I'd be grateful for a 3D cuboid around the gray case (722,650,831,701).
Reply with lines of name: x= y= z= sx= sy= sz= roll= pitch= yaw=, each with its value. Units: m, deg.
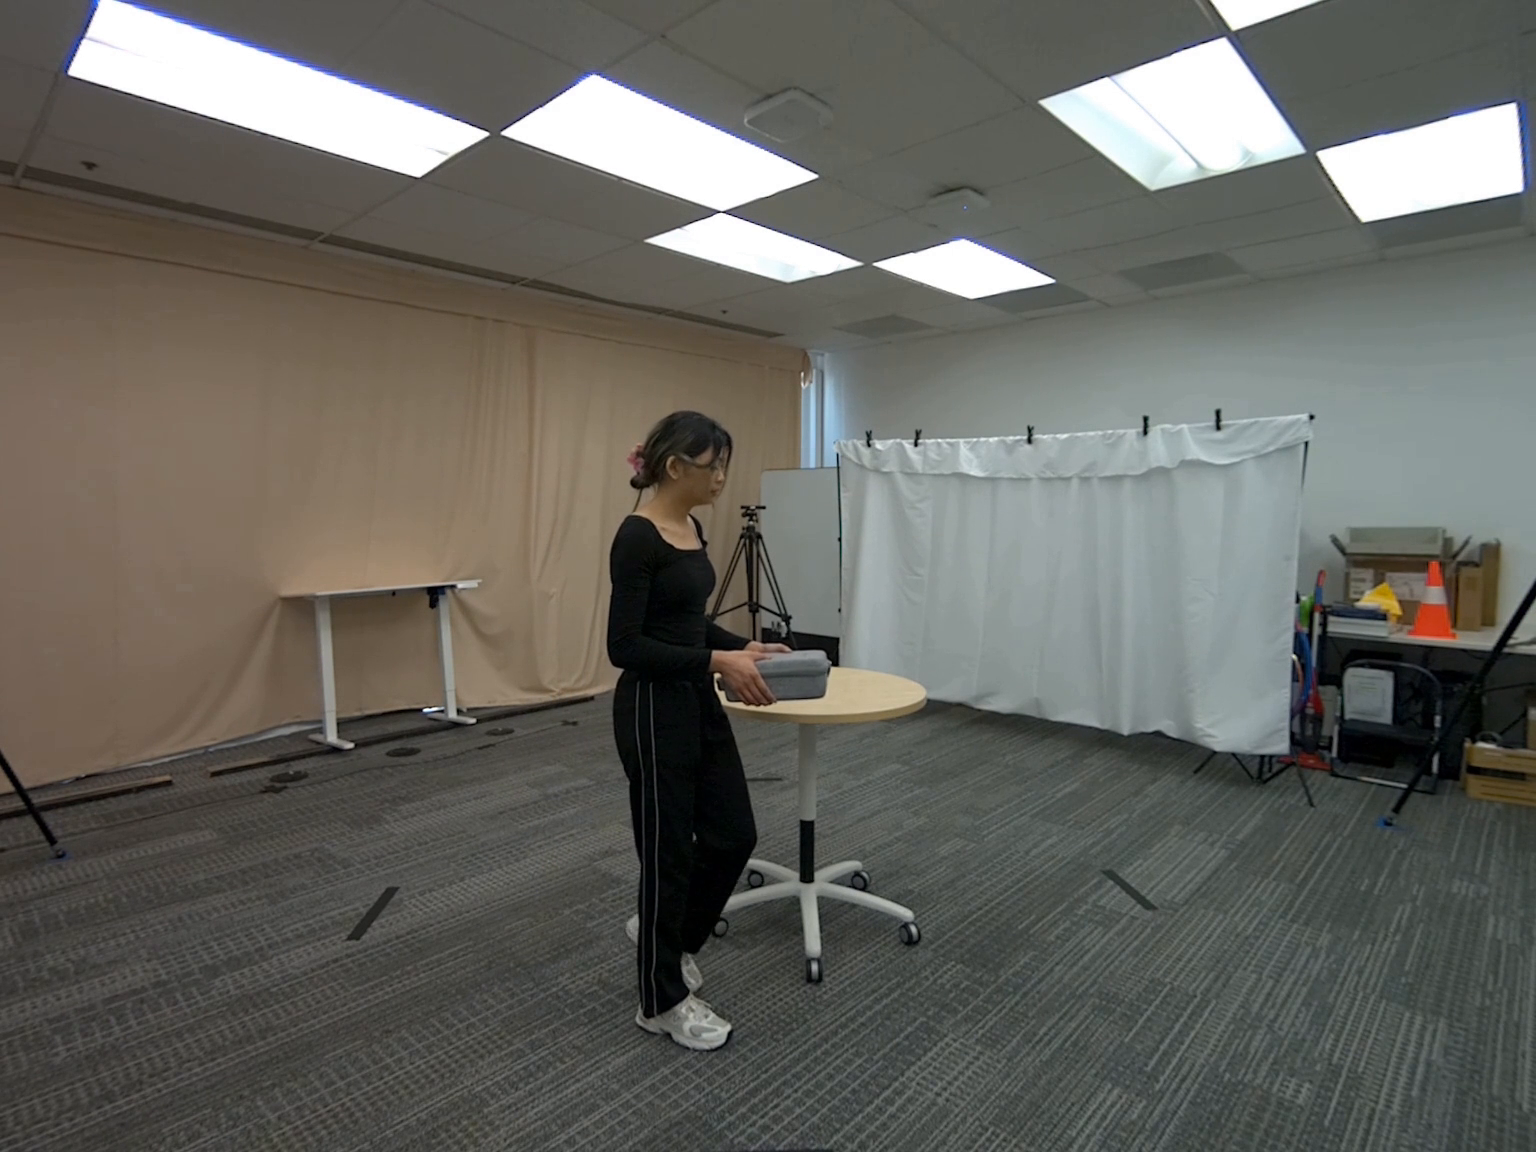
gray case: x=0.019 y=0.251 z=2.119 sx=0.262 sy=0.104 sz=0.255 roll=-5 pitch=0 yaw=6
